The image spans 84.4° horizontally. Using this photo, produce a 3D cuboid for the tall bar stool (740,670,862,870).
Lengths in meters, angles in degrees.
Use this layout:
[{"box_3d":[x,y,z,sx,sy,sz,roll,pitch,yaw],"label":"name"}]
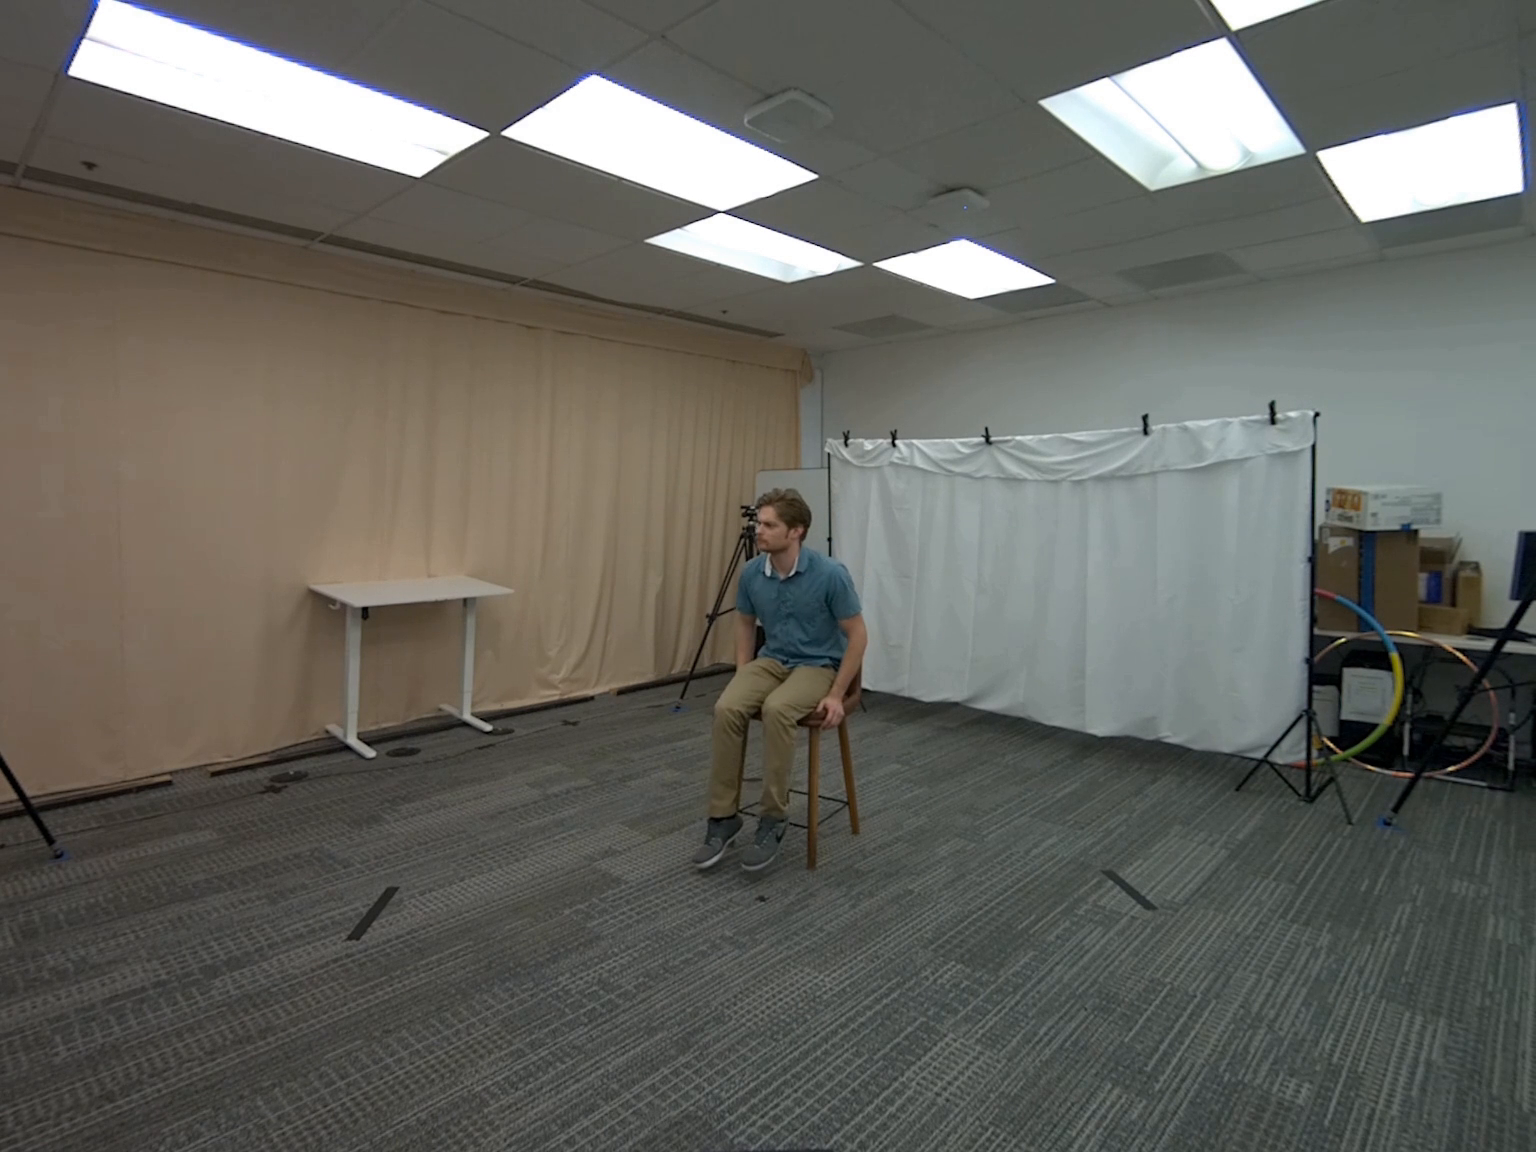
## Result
[{"box_3d":[0.129,0.665,3.492,0.471,0.889,0.454,3,2,33],"label":"tall bar stool"}]
